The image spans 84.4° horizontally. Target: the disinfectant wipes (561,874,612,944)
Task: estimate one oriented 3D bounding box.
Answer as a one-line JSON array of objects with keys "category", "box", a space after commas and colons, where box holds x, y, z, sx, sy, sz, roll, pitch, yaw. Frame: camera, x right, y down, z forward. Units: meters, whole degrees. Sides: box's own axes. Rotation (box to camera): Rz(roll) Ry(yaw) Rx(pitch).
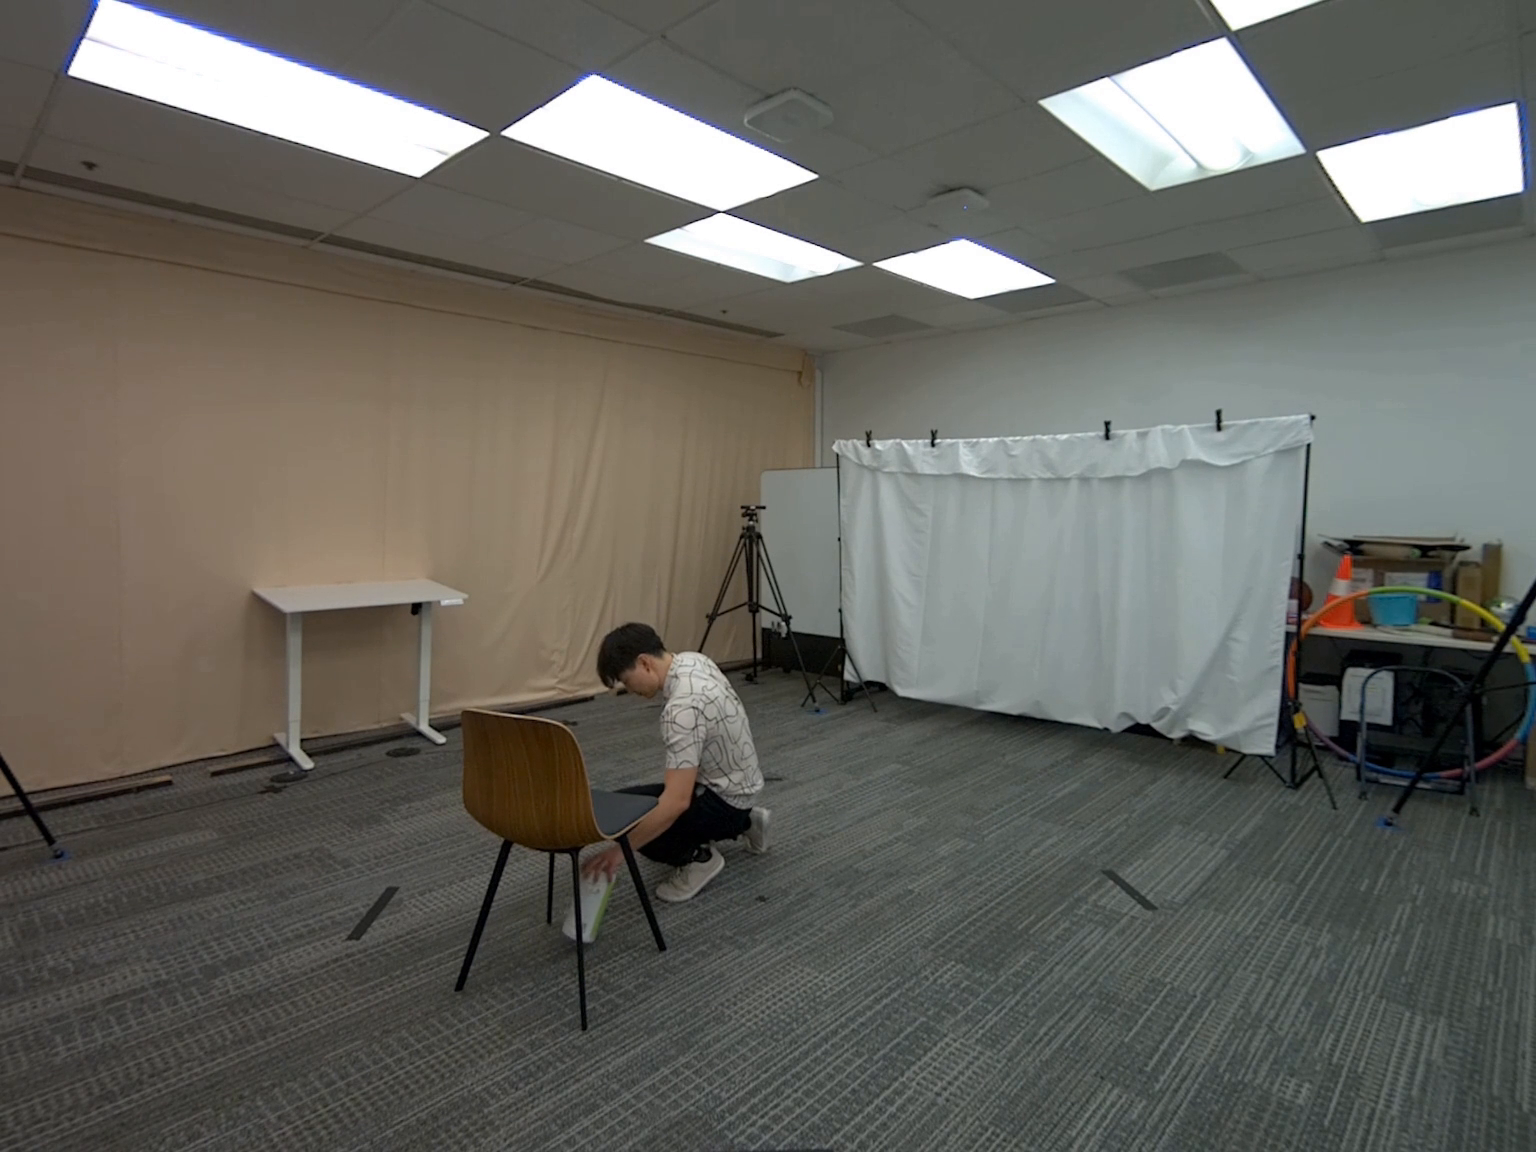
[{"category": "disinfectant wipes", "box": [-0.559, 1.027, 2.658, 0.118, 0.218, 0.117, 20, -9, 1]}]
